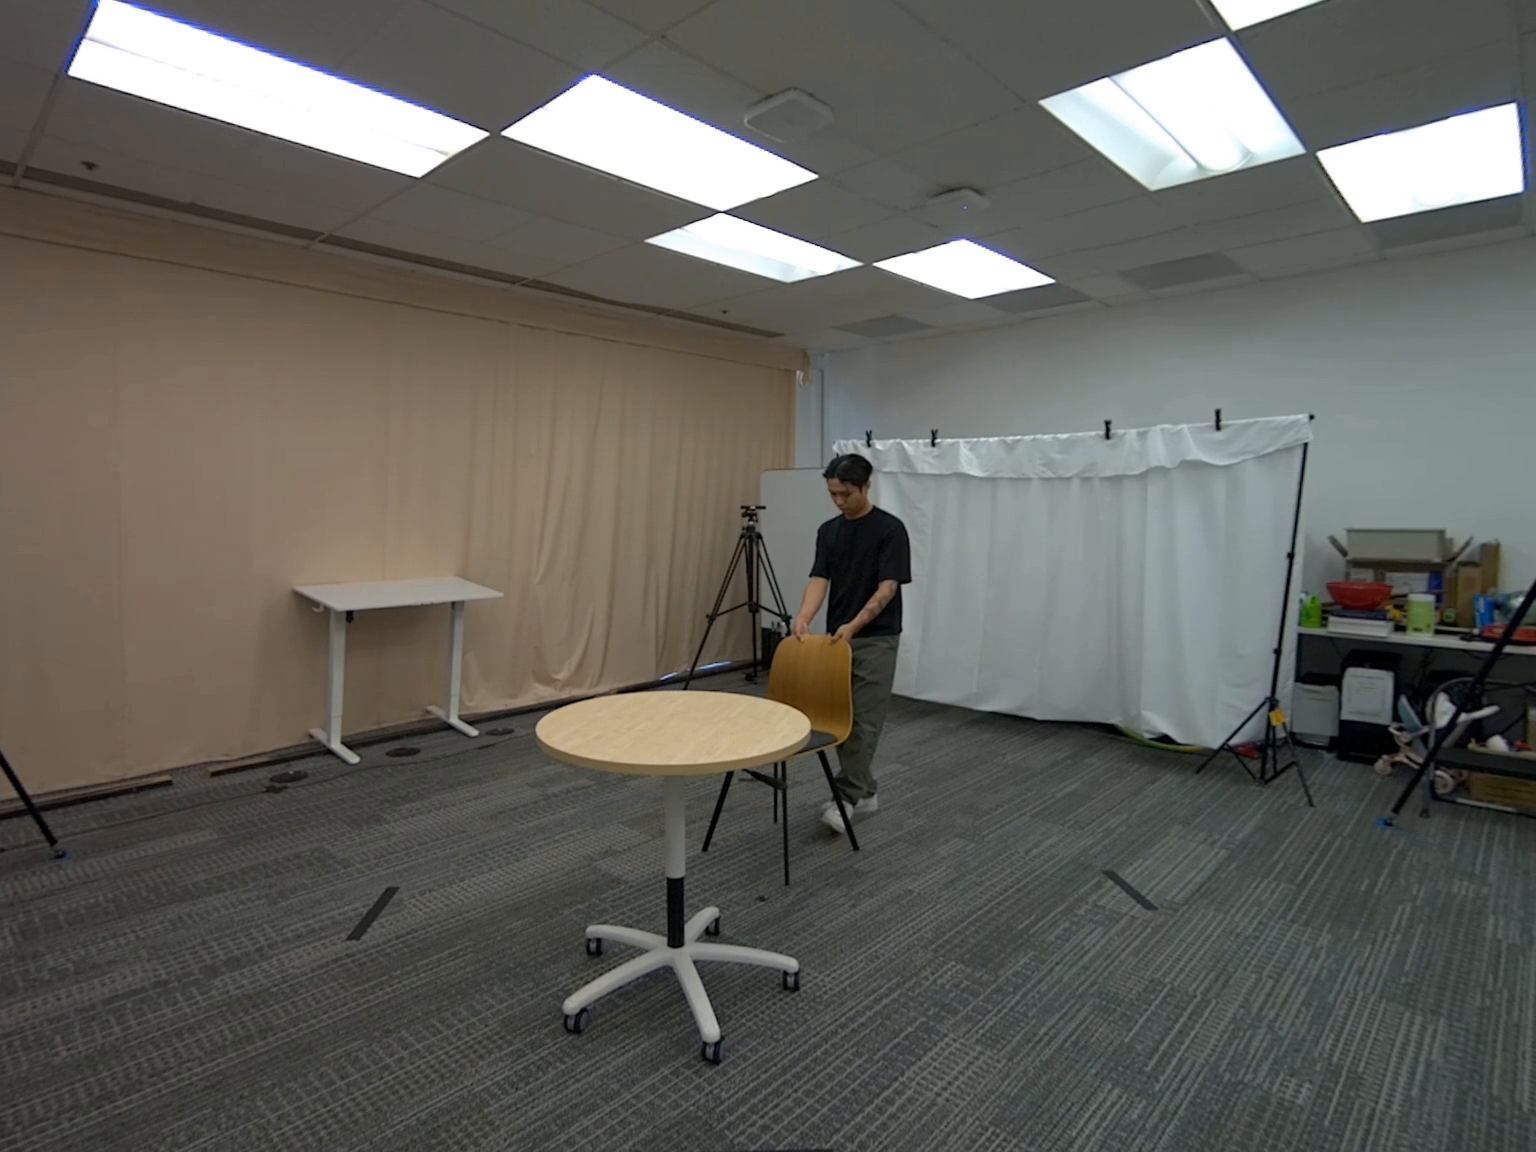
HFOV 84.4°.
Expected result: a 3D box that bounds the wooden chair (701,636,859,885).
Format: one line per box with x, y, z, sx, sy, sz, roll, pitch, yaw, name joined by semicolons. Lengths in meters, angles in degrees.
0.047;0.686;3.357;0.494;0.877;0.506;3;0;43;wooden chair
